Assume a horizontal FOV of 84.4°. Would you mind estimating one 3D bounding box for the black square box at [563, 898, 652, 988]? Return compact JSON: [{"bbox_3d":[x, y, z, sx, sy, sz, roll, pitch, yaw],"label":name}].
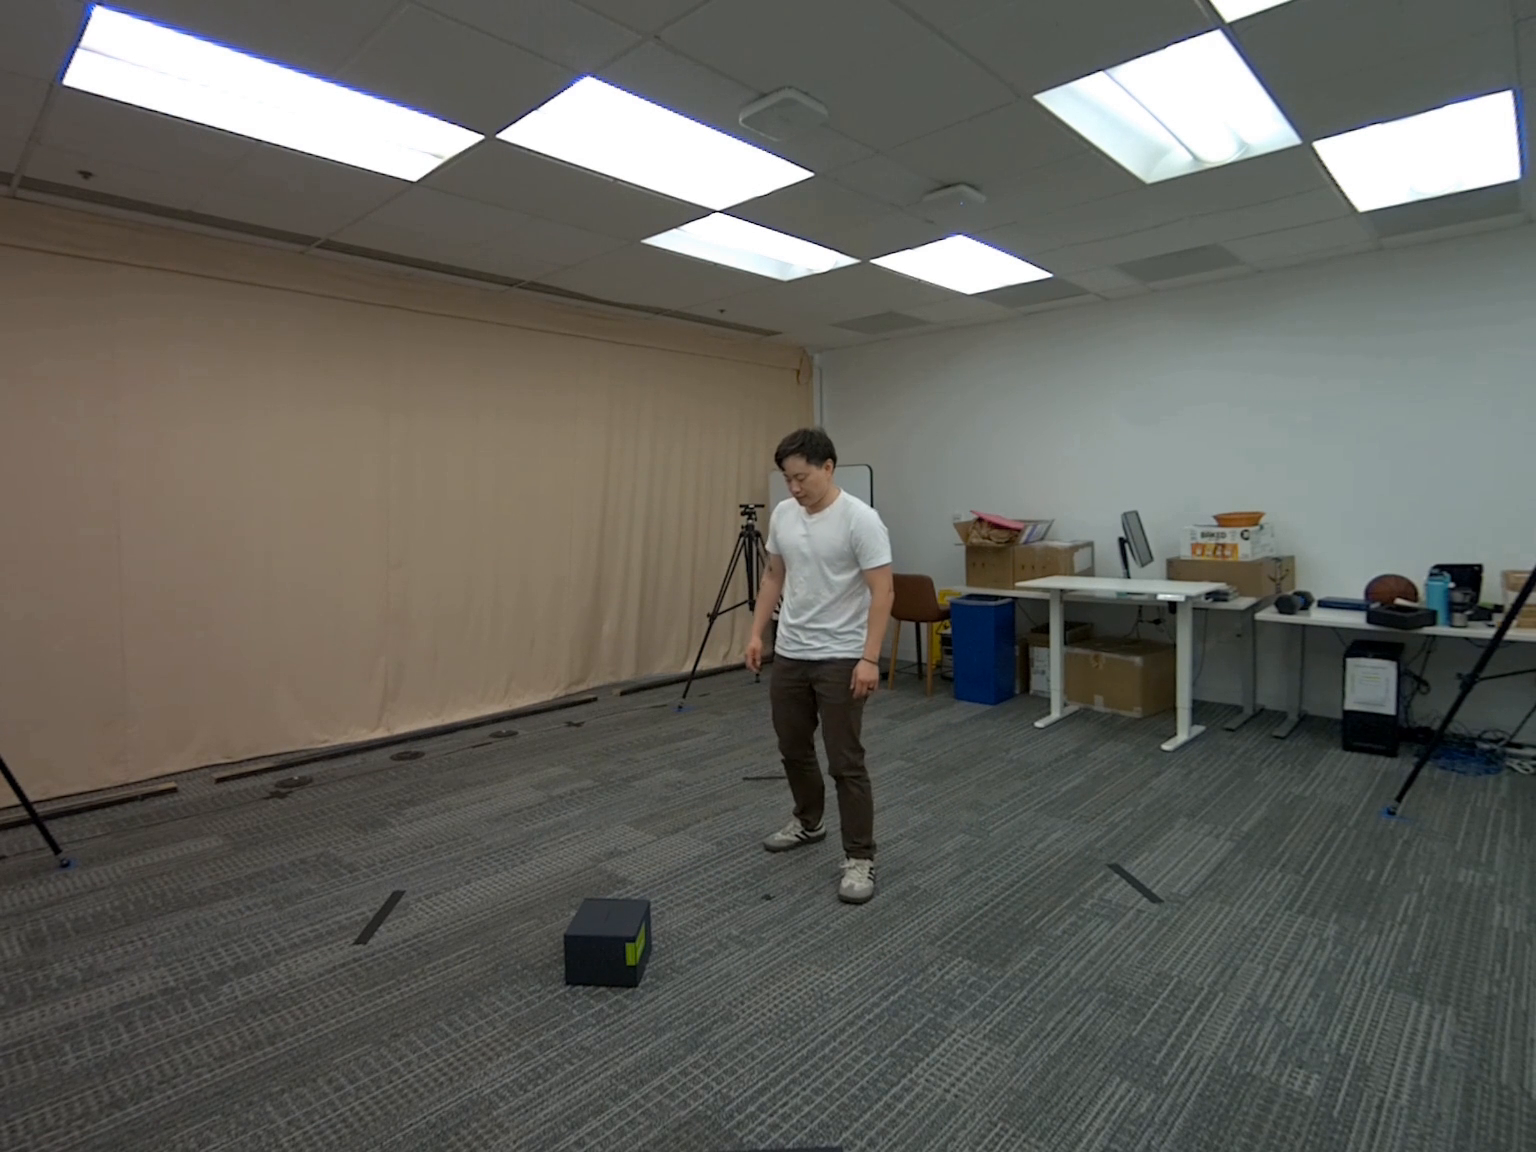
[{"bbox_3d":[-0.479,1.101,2.549,0.218,0.155,0.227,-1,3,5],"label":"black square box"}]
